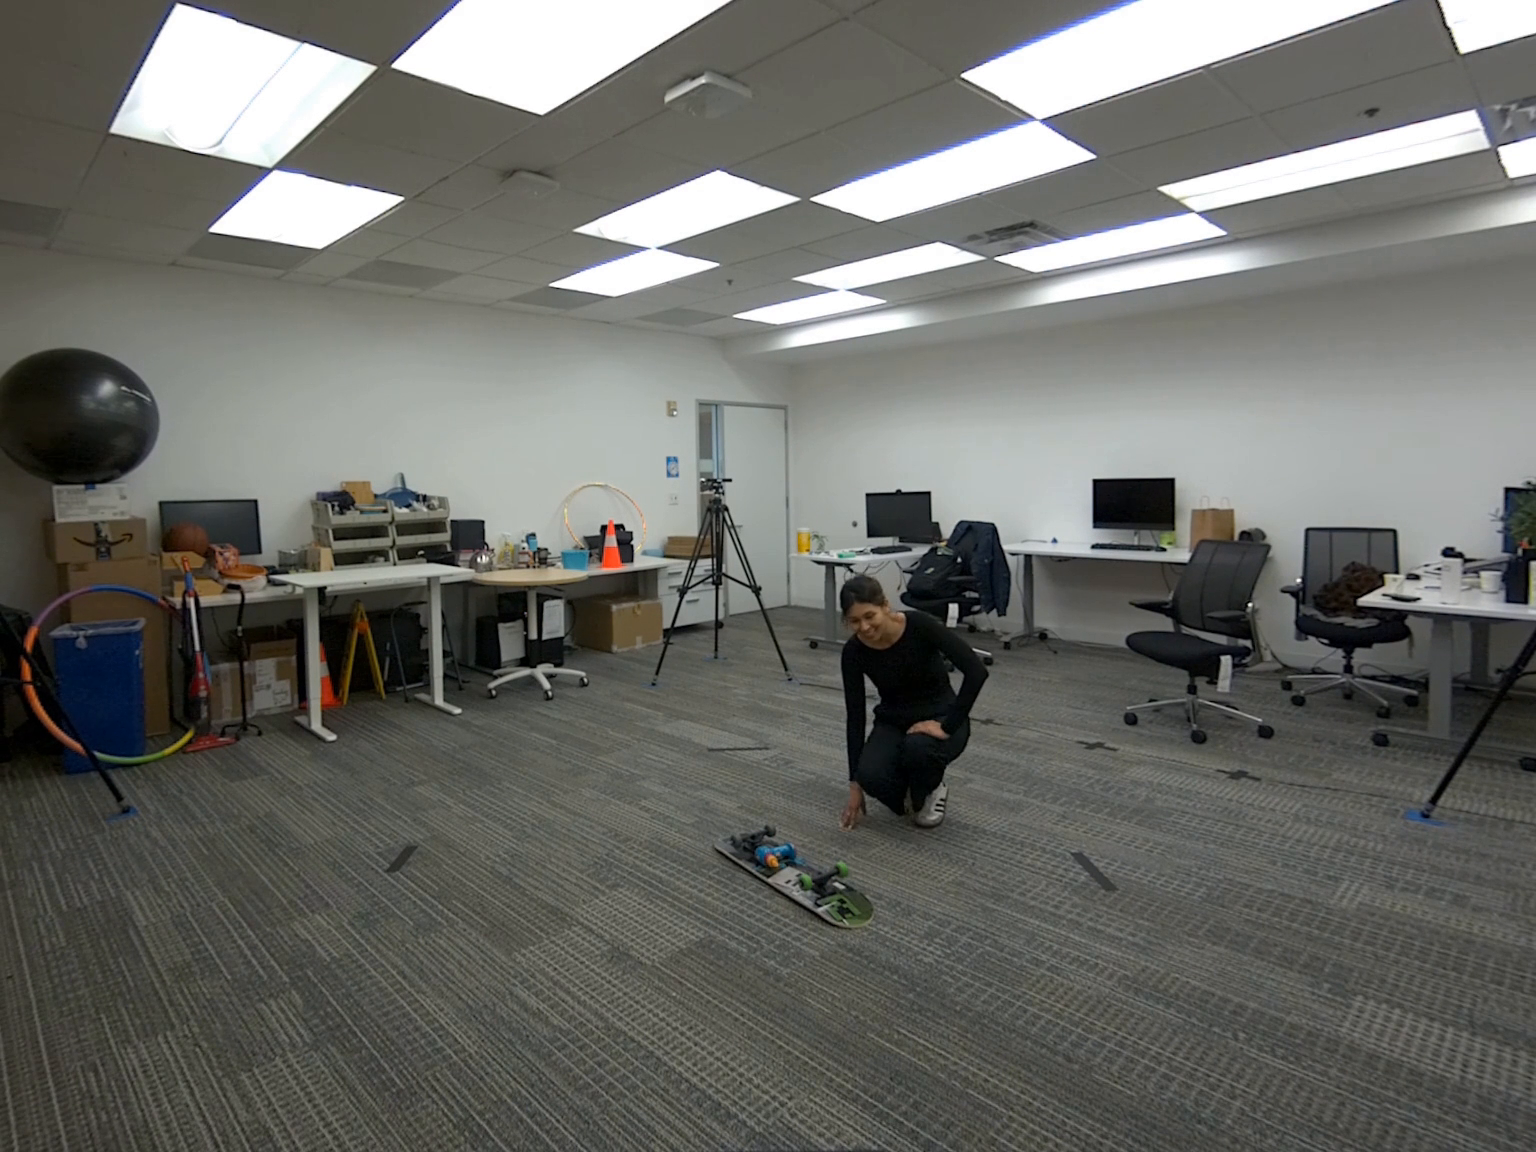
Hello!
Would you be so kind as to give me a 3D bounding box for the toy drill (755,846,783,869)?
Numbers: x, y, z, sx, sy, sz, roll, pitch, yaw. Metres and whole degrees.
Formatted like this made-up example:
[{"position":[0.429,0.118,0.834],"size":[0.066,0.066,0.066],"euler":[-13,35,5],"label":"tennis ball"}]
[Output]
[{"position":[0.036,0.990,3.018],"size":[0.143,0.061,0.173],"euler":[-2,0,-22],"label":"toy drill"}]
